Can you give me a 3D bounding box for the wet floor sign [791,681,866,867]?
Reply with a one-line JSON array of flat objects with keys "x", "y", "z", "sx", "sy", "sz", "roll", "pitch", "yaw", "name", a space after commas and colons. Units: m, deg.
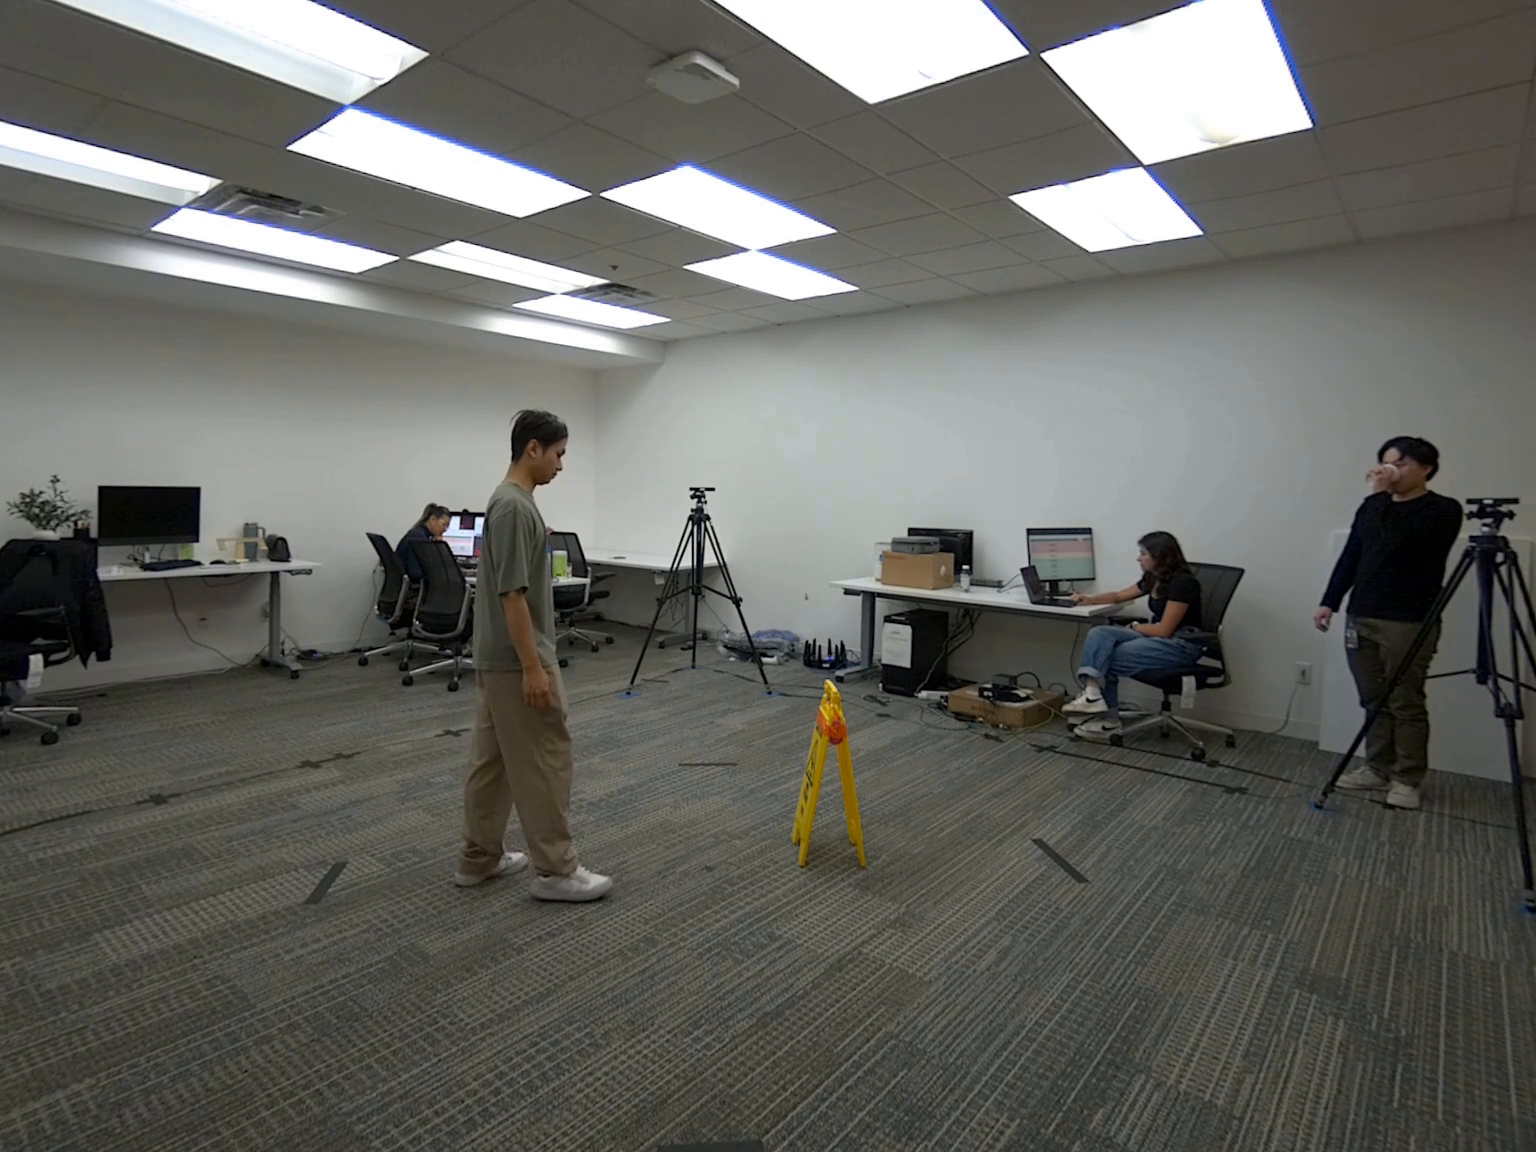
[{"x": 0.226, "y": 0.735, "z": 3.259, "sx": 0.289, "sy": 0.645, "sz": 0.284, "roll": 1, "pitch": 2, "yaw": -4, "name": "wet floor sign"}]
